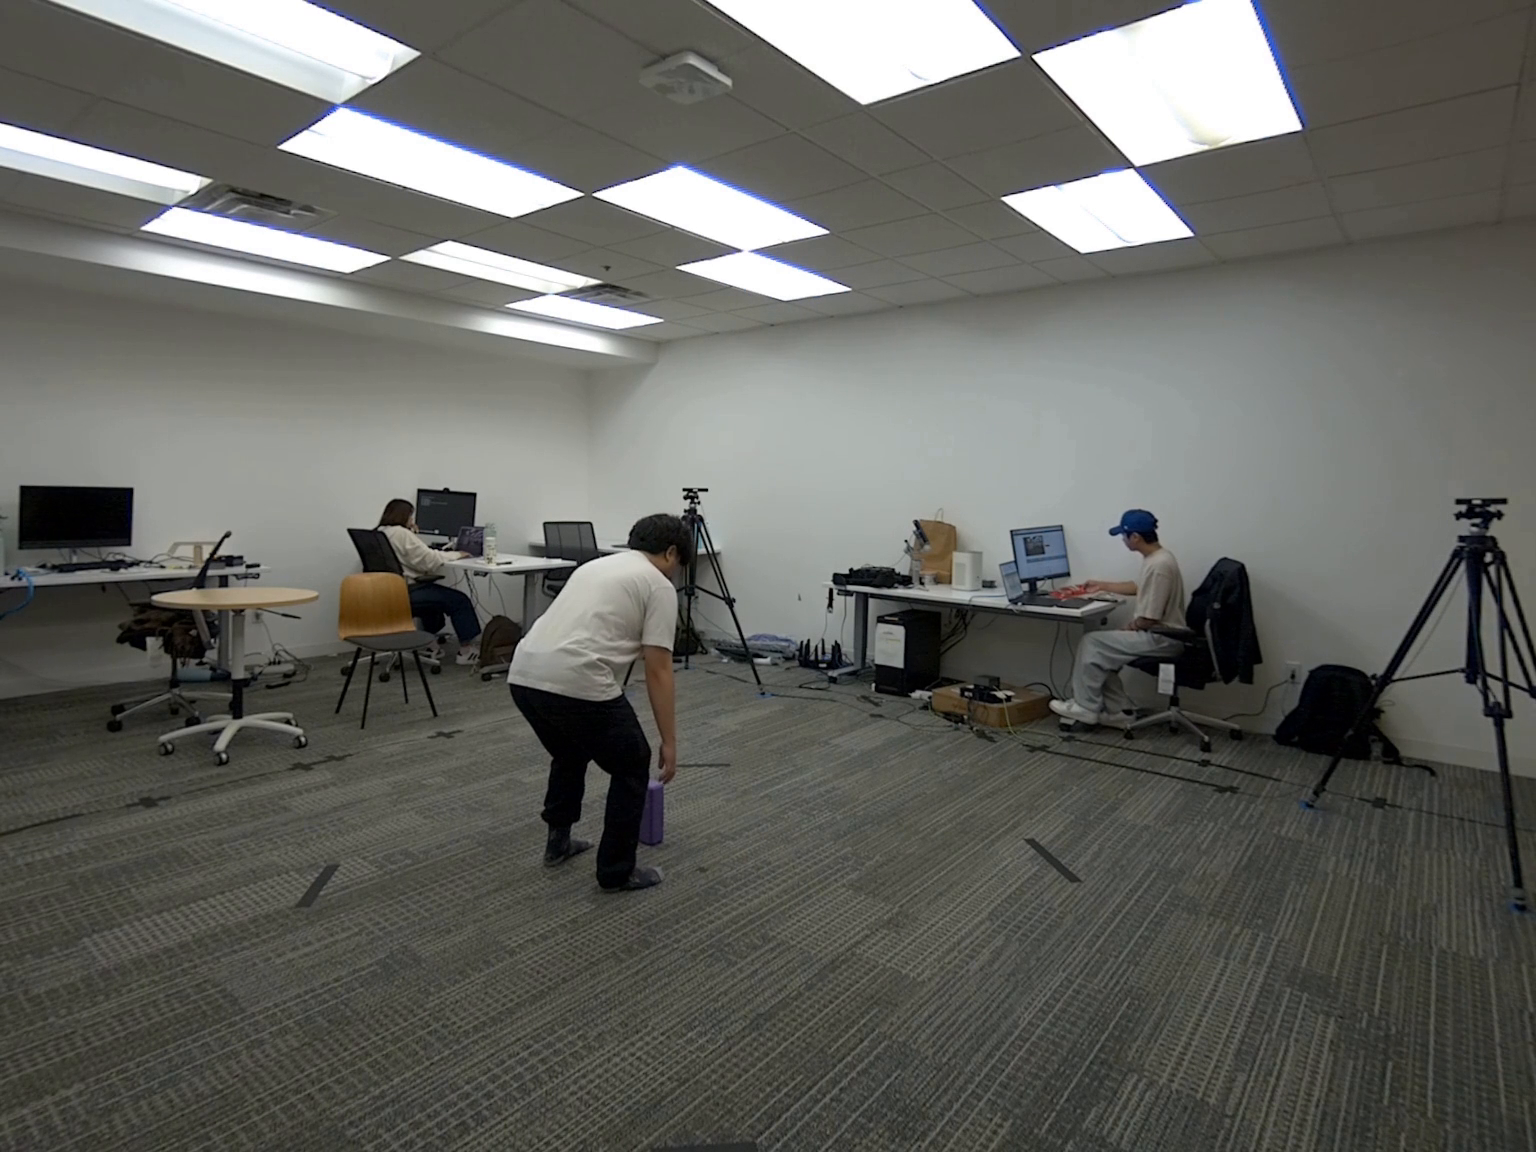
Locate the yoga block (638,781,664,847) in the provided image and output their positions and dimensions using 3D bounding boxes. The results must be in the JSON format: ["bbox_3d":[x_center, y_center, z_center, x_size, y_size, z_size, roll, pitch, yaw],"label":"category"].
[{"bbox_3d":[-0.500,0.925,3.367,0.154,0.229,0.074,2,3,37],"label":"yoga block"}]
